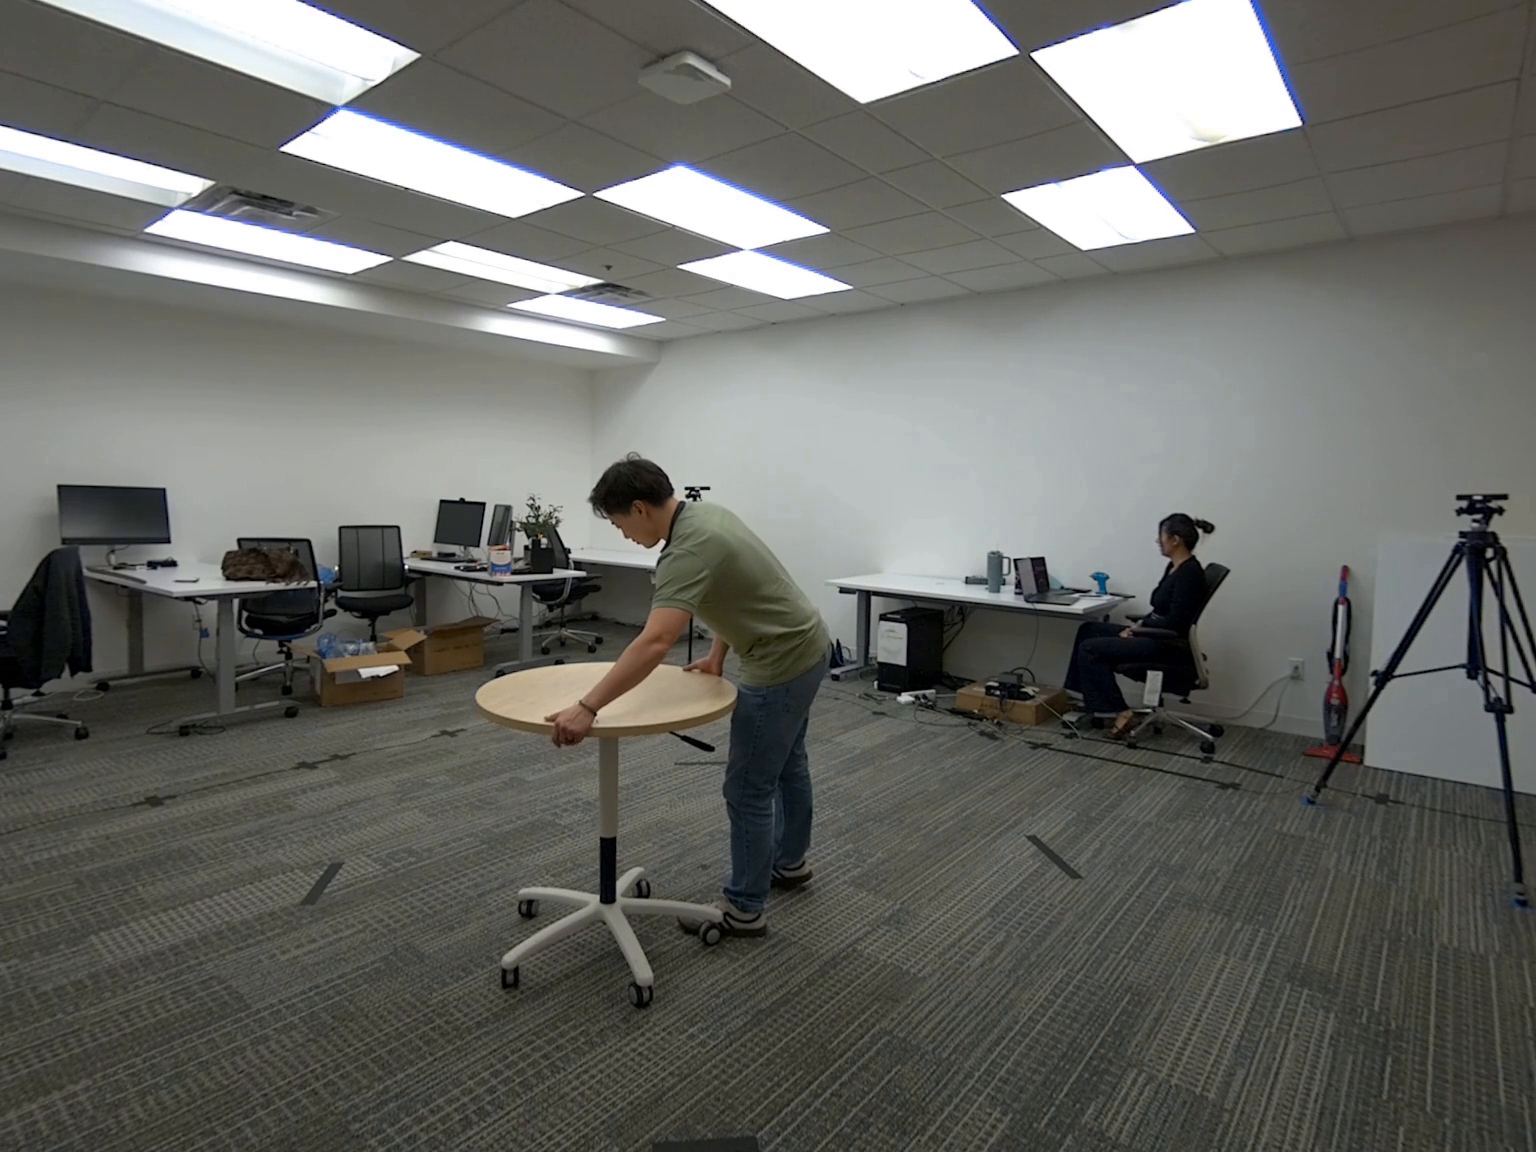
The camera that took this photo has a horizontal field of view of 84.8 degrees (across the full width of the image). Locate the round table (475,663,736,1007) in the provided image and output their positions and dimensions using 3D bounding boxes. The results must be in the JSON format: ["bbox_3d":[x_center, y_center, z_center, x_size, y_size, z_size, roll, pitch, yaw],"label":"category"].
[{"bbox_3d":[-0.492,0.732,2.552,0.763,0.791,0.768,0,5,-2],"label":"round table"}]
